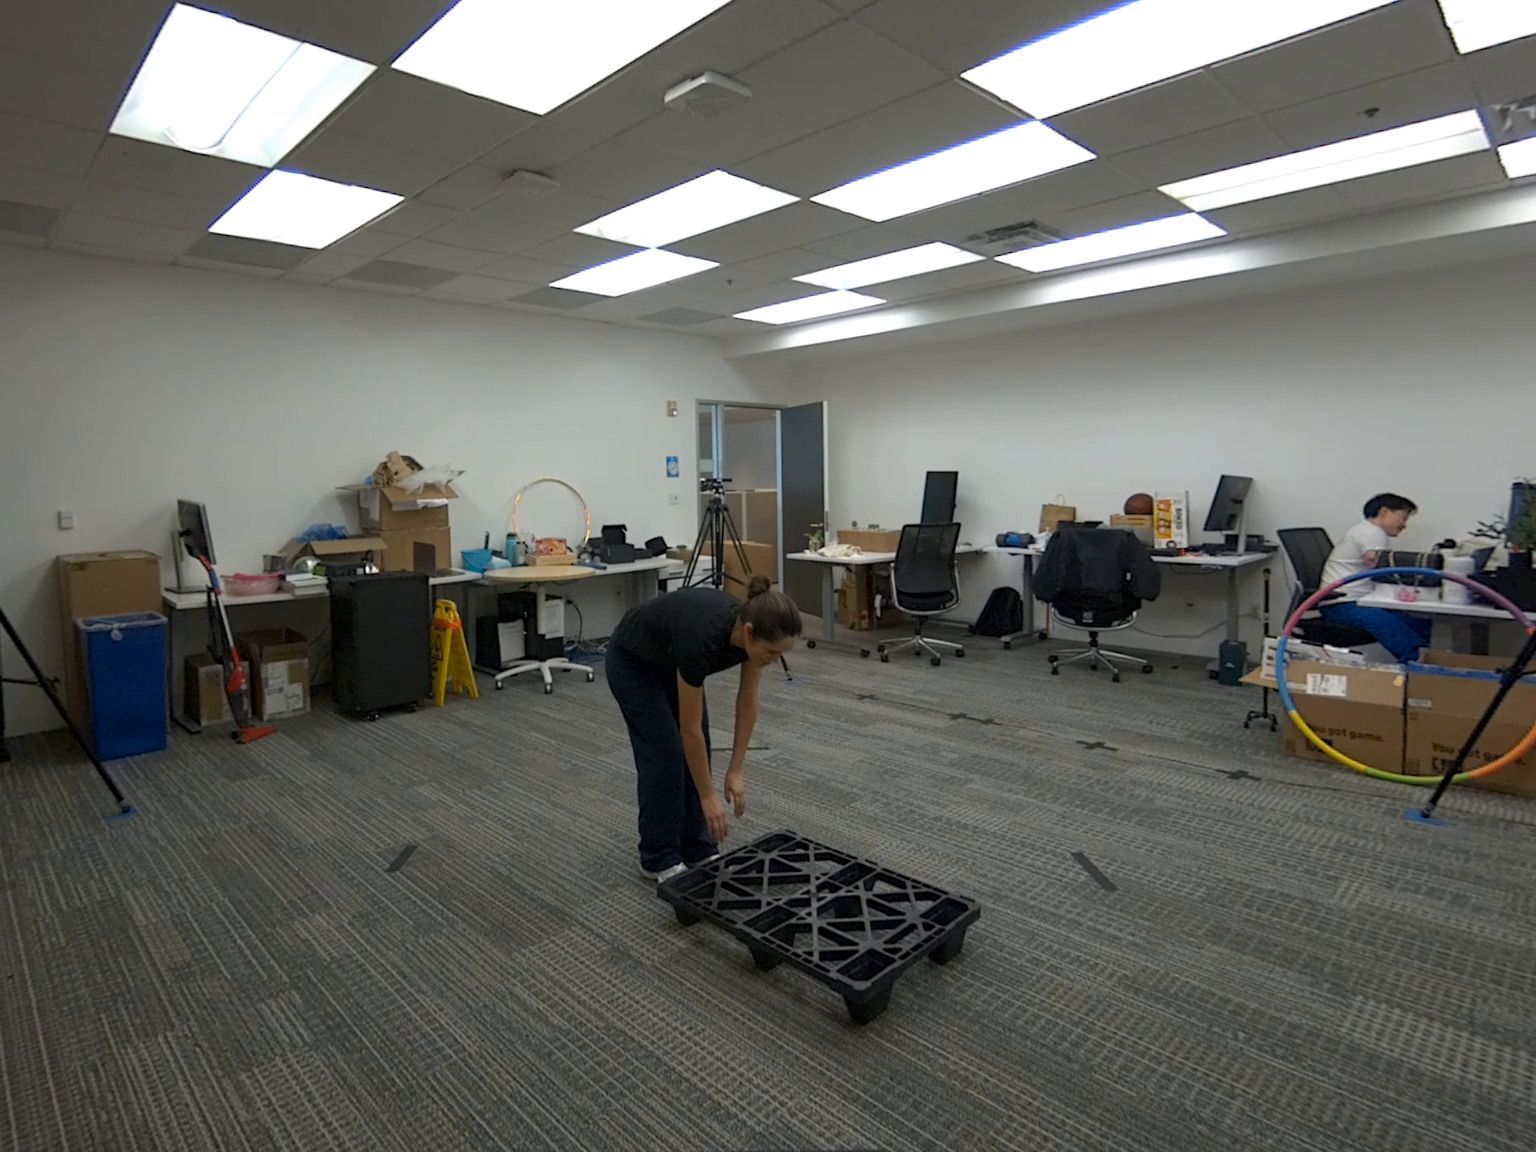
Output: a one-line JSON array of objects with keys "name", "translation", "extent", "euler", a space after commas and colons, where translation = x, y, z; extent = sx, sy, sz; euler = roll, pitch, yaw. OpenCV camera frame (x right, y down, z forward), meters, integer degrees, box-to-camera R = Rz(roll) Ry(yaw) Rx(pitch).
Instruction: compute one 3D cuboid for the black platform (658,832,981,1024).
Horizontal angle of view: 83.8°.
[{"name": "black platform", "translation": [0.142, 1.035, 2.616], "extent": [0.831, 0.143, 0.589], "euler": [6, 9, 44]}]
